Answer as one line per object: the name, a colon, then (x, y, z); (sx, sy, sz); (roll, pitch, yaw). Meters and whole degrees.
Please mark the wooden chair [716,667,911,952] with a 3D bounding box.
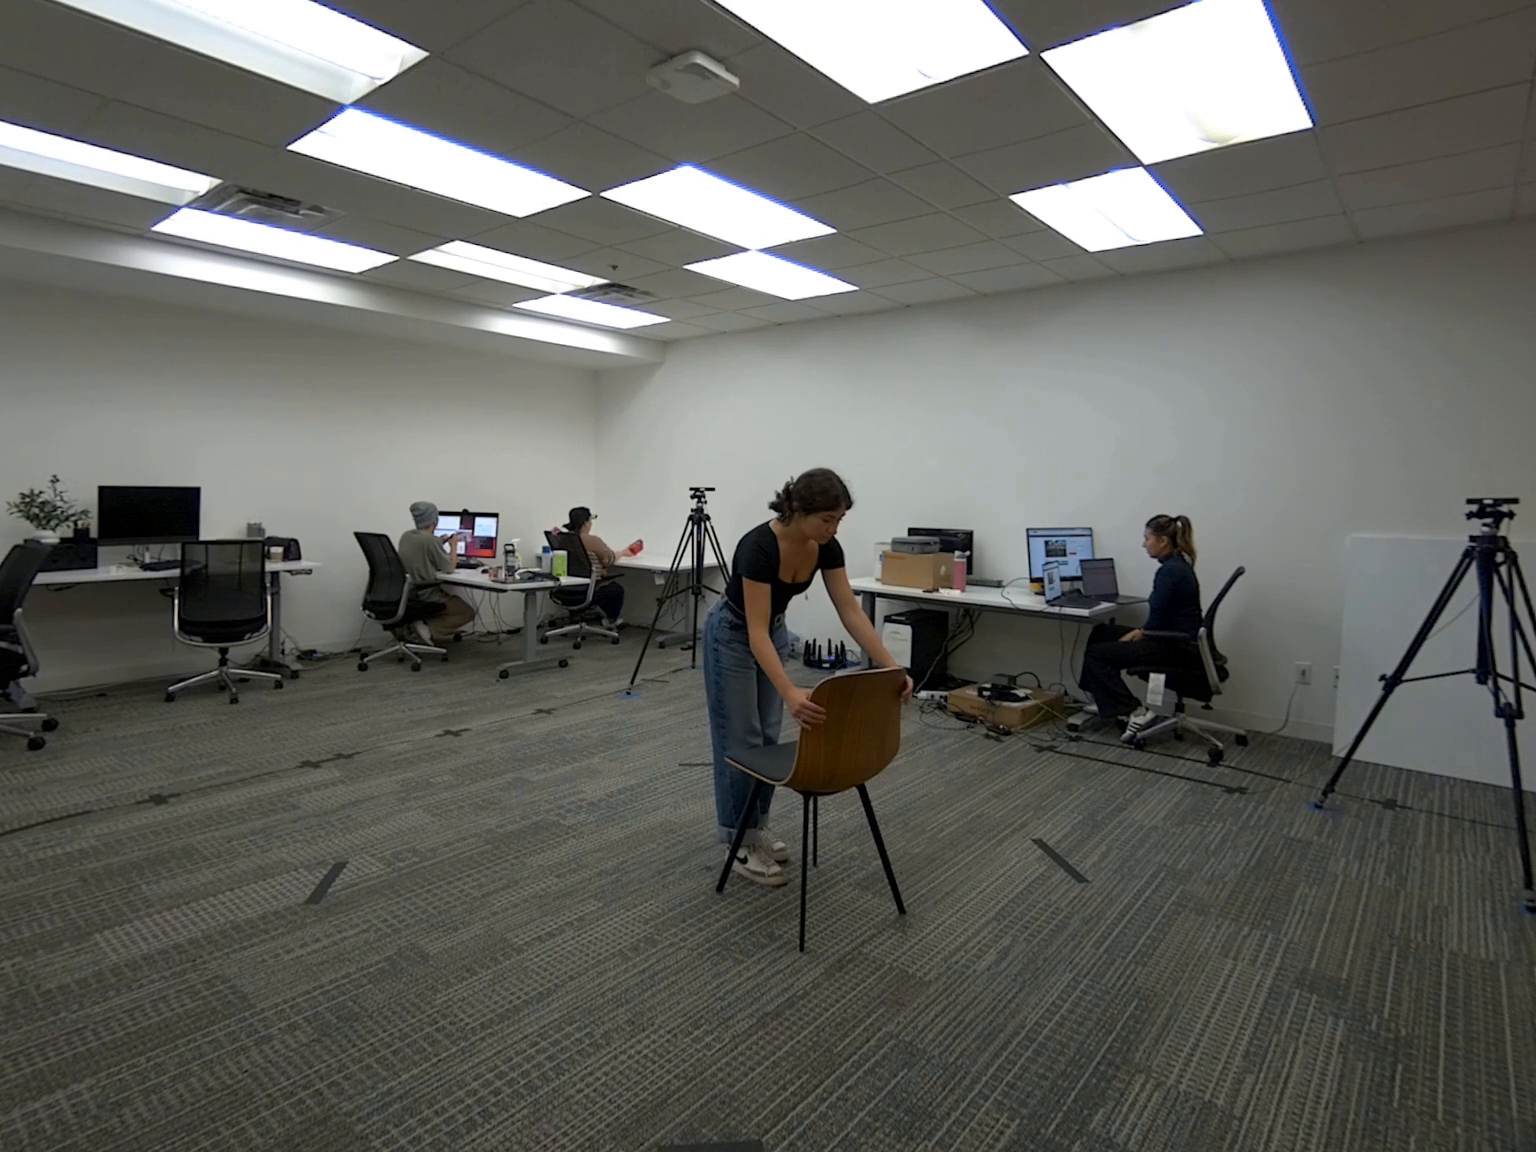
wooden chair: (0.137, 0.673, 2.839); (0.464, 0.872, 0.542); (-1, 8, -37)
